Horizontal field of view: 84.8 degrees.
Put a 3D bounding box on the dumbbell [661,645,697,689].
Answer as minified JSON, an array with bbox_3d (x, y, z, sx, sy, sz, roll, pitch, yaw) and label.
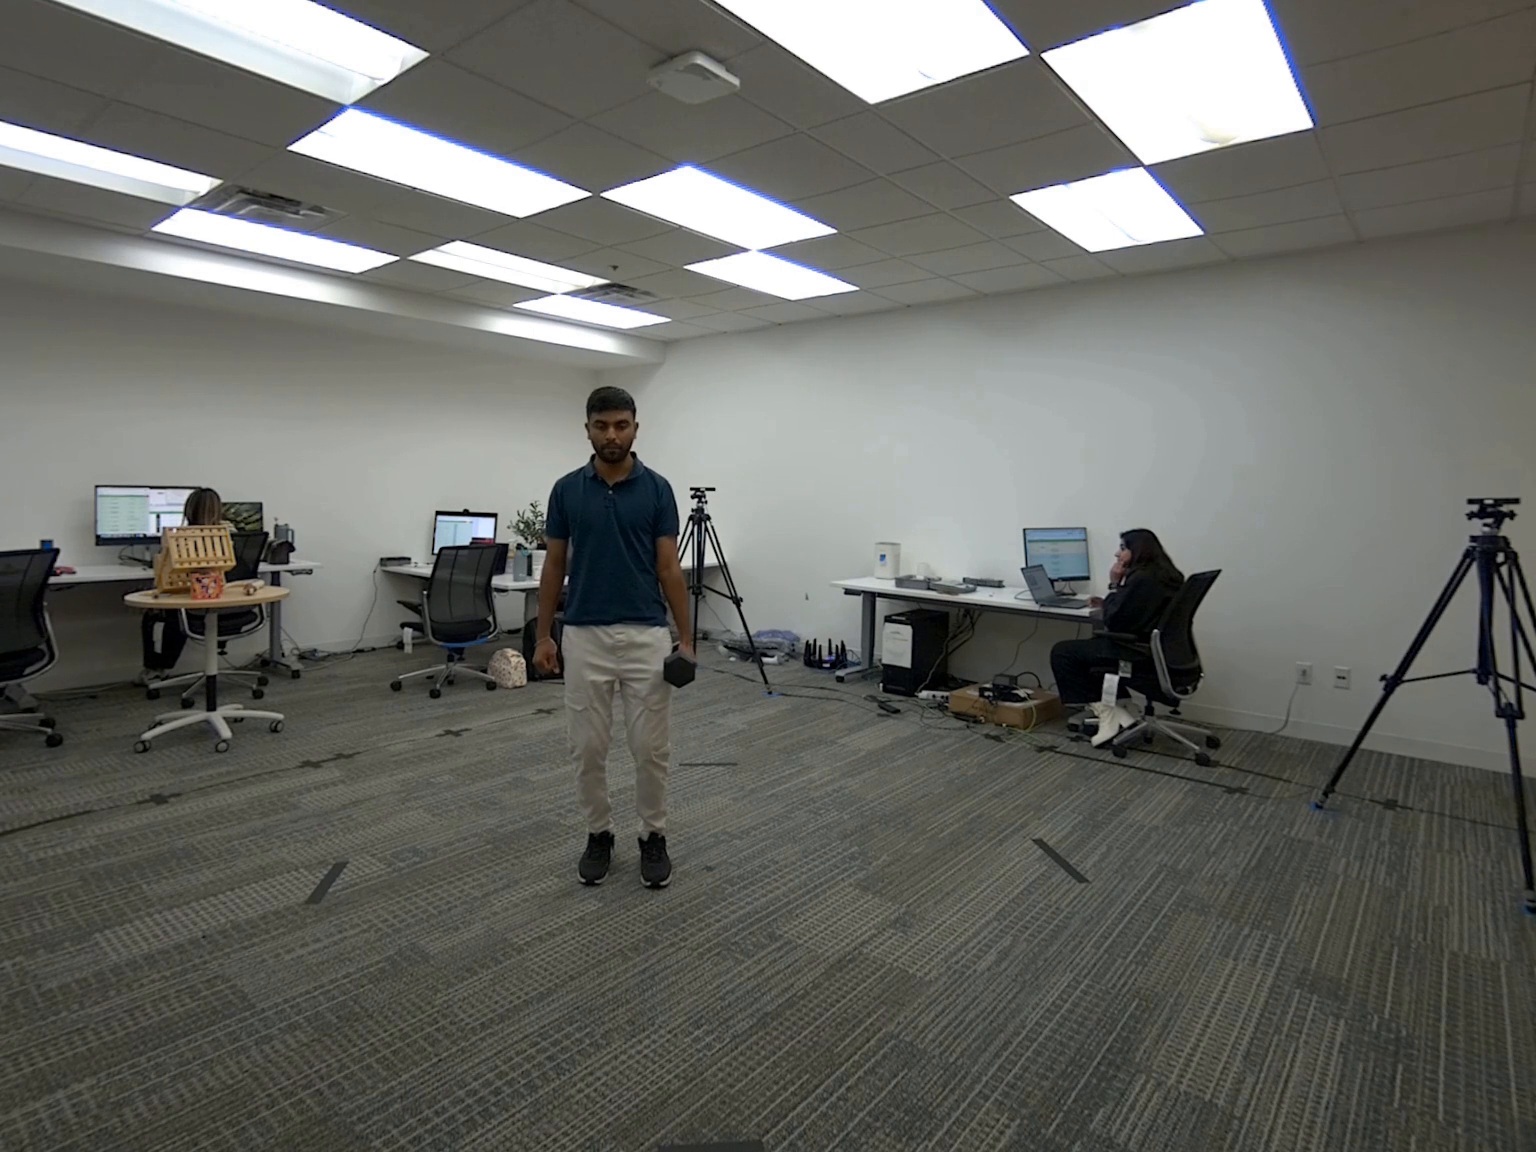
[{"bbox_3d":[-0.337,0.305,2.977,0.108,0.122,0.297,-1,5,-8],"label":"dumbbell"}]
